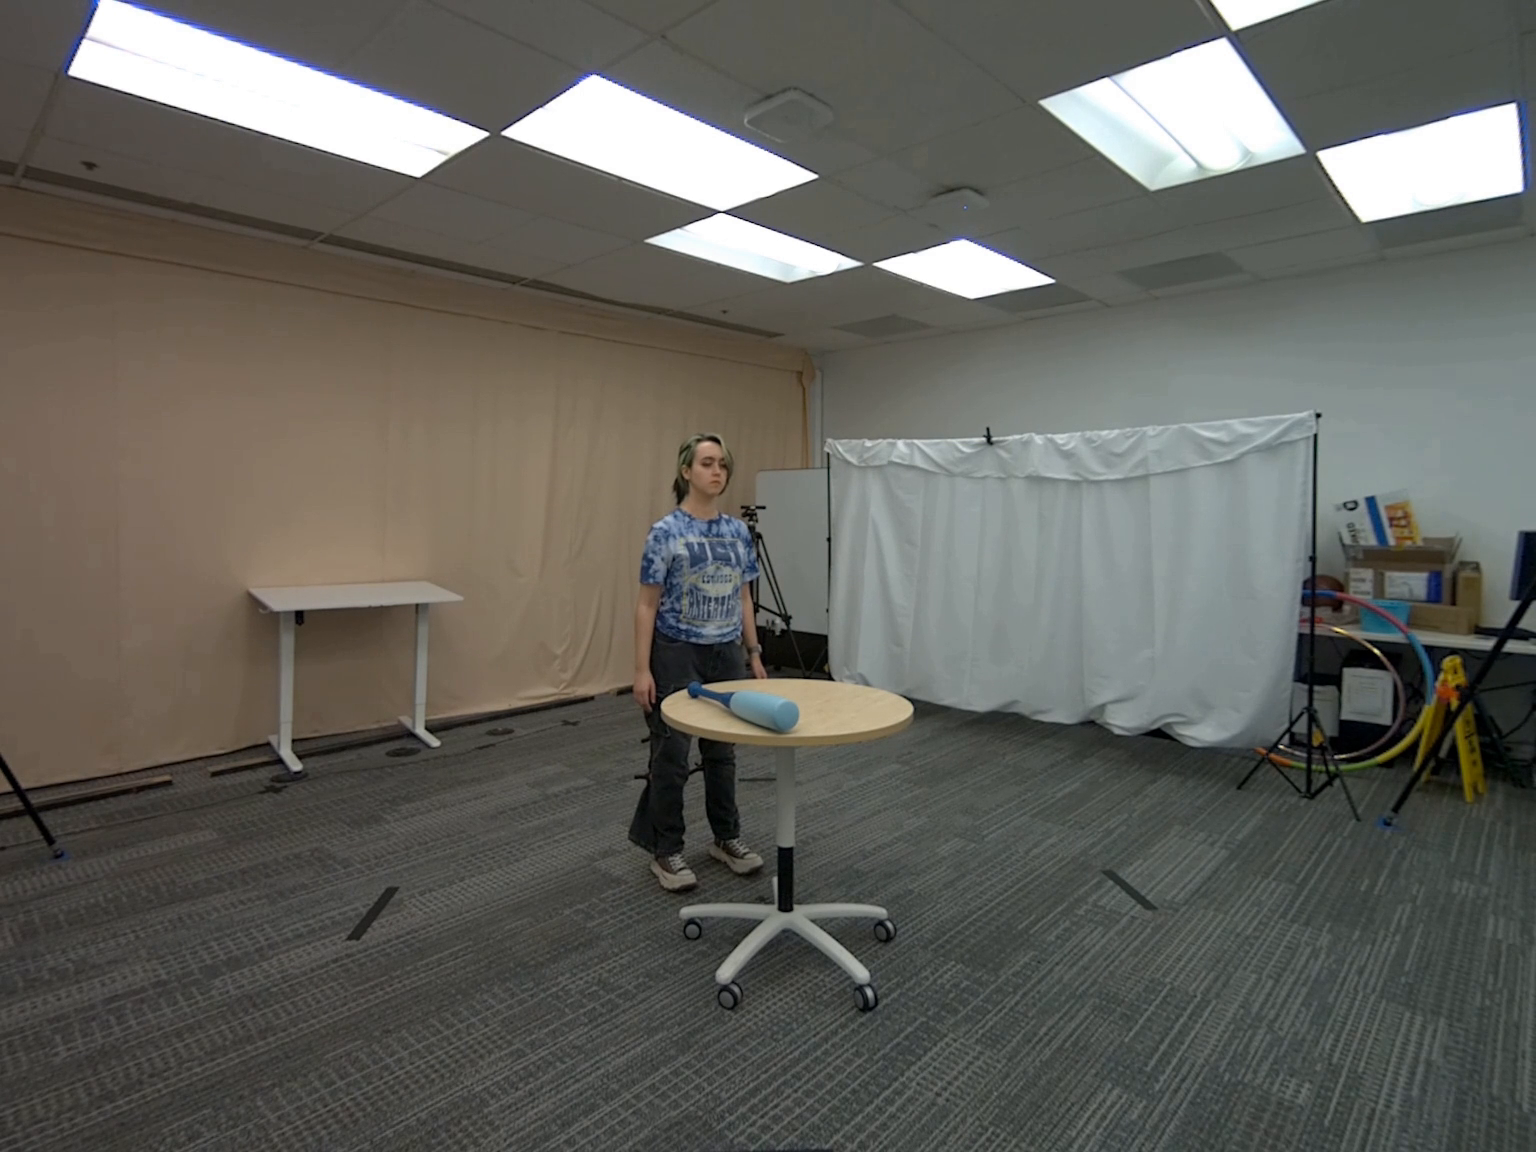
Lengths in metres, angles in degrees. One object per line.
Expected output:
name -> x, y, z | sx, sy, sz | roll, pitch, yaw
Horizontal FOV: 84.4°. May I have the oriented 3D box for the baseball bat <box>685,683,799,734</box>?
baseball bat -> -0.090, 0.371, 2.443 | 0.086, 0.089, 0.558 | -2, 1, -31
